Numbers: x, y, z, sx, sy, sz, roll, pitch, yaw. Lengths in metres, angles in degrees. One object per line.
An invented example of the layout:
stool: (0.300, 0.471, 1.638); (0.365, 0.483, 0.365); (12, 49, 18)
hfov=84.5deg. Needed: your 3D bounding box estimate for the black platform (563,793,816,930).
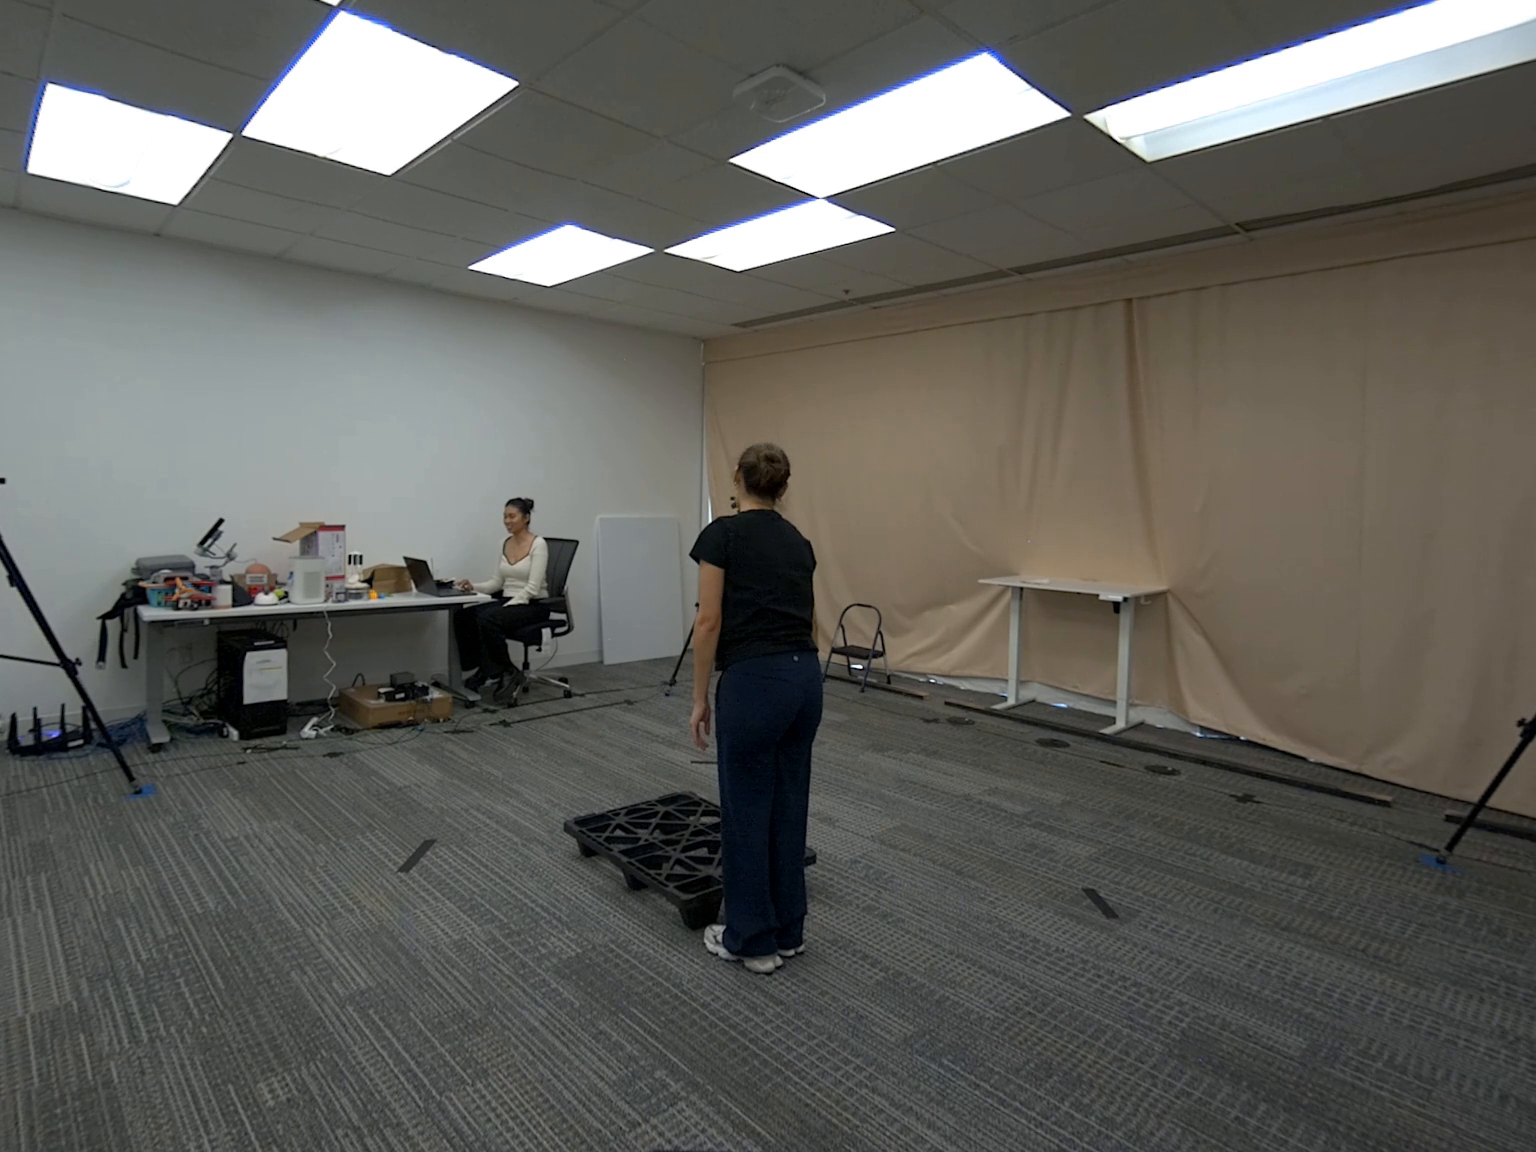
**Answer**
black platform: (-0.311, 1.037, 3.123); (0.591, 0.143, 0.826); (-2, 7, -41)
